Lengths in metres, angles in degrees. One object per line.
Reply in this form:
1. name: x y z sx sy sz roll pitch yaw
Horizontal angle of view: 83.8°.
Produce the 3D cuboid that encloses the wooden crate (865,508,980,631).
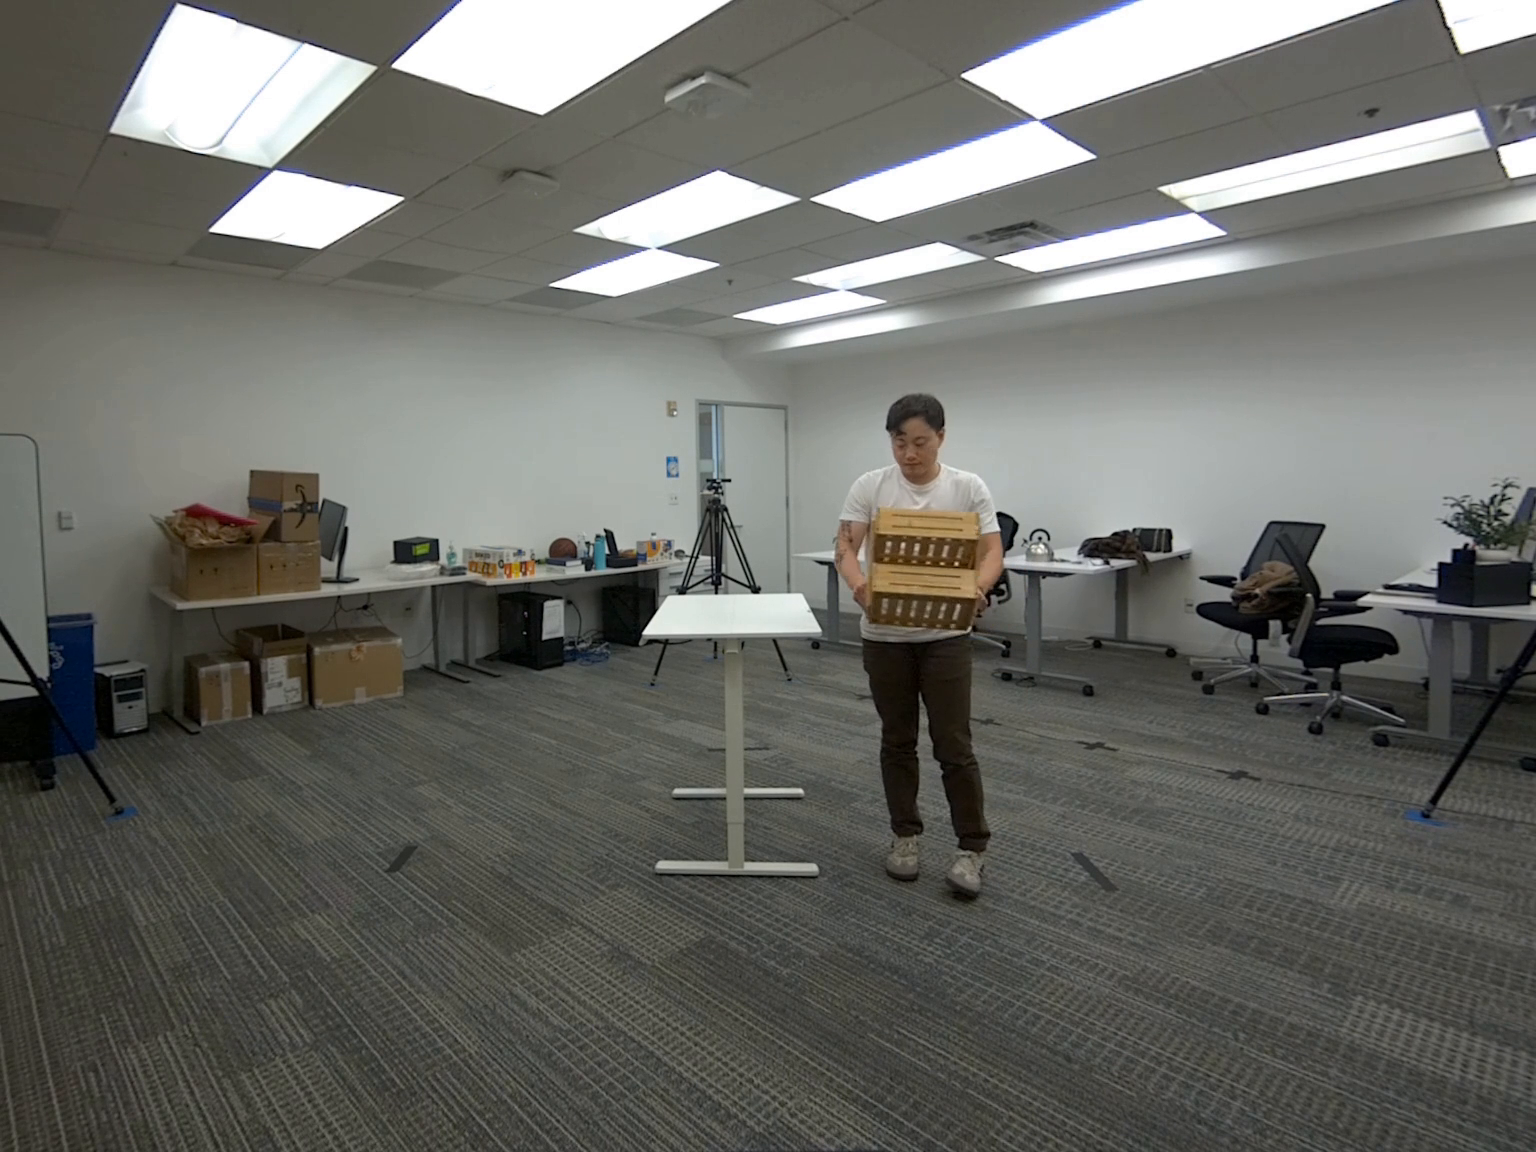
1. wooden crate: 0.471 -0.018 2.638 0.327 0.279 0.294 3 -28 7
